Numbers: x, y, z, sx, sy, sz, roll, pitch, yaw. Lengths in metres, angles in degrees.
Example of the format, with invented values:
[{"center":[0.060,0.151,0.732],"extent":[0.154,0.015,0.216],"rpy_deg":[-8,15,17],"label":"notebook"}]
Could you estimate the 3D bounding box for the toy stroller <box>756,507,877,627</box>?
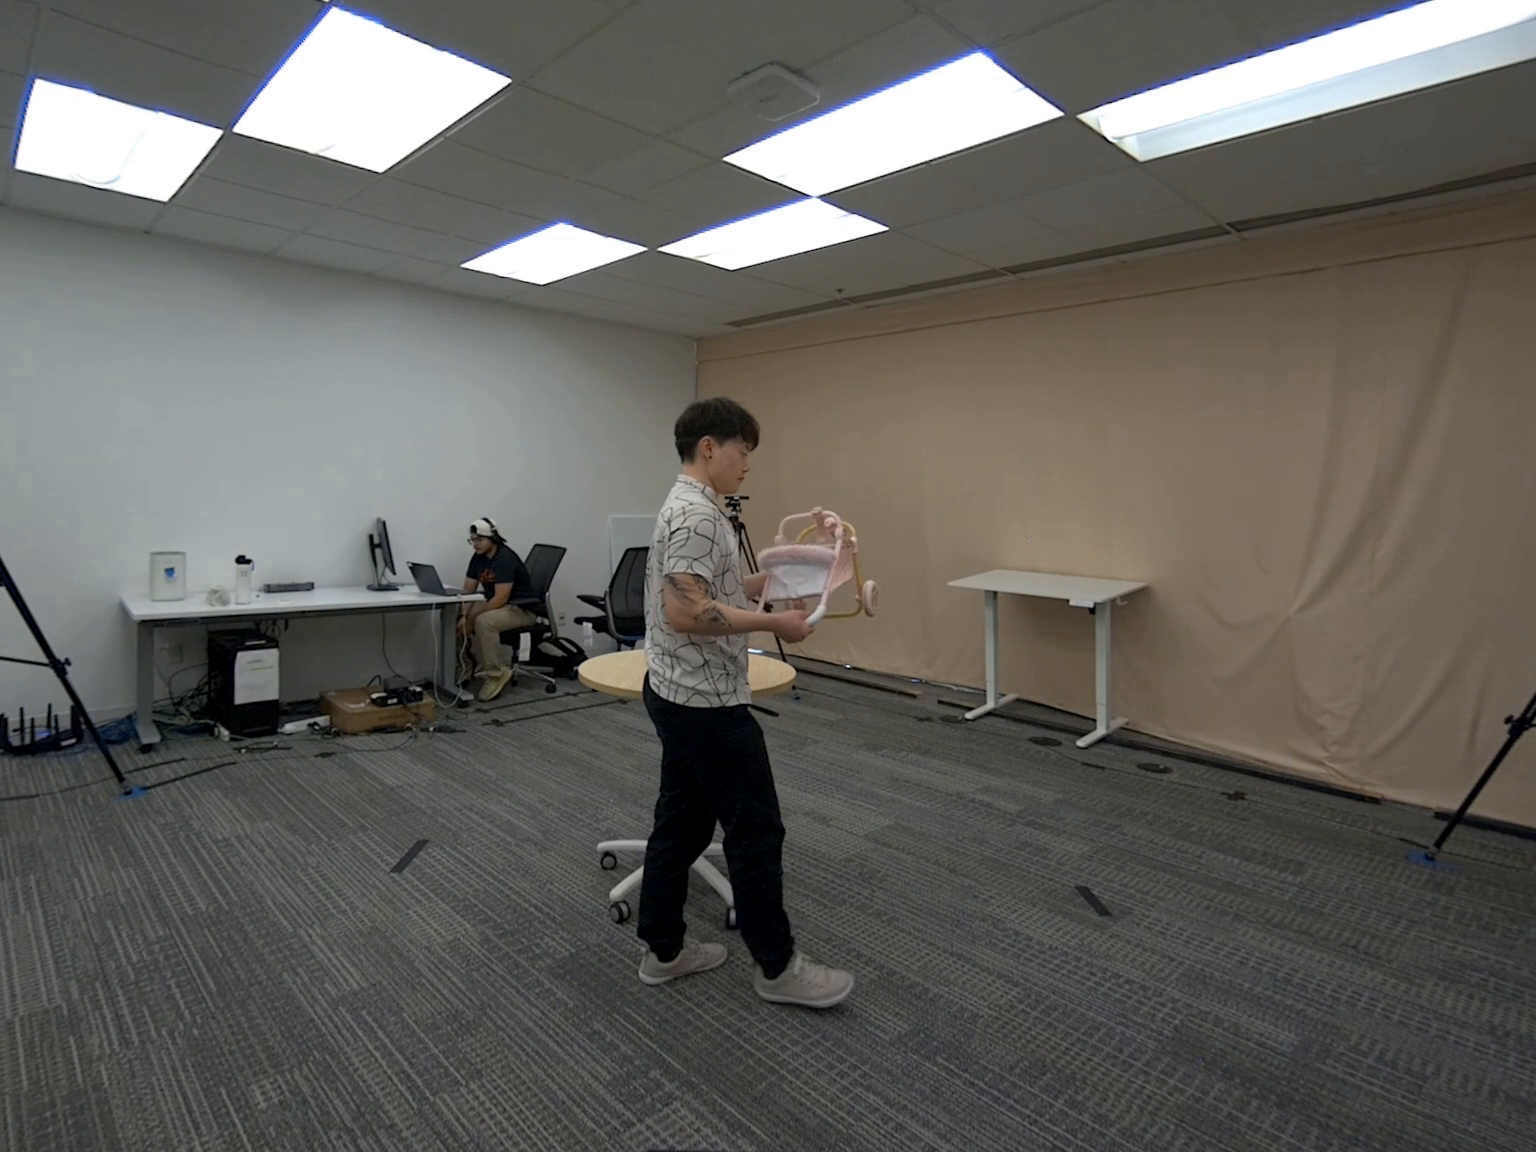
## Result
[{"center":[0.130,-0.024,2.454],"extent":[0.286,0.342,0.525],"rpy_deg":[-1,-1,24],"label":"toy stroller"}]
